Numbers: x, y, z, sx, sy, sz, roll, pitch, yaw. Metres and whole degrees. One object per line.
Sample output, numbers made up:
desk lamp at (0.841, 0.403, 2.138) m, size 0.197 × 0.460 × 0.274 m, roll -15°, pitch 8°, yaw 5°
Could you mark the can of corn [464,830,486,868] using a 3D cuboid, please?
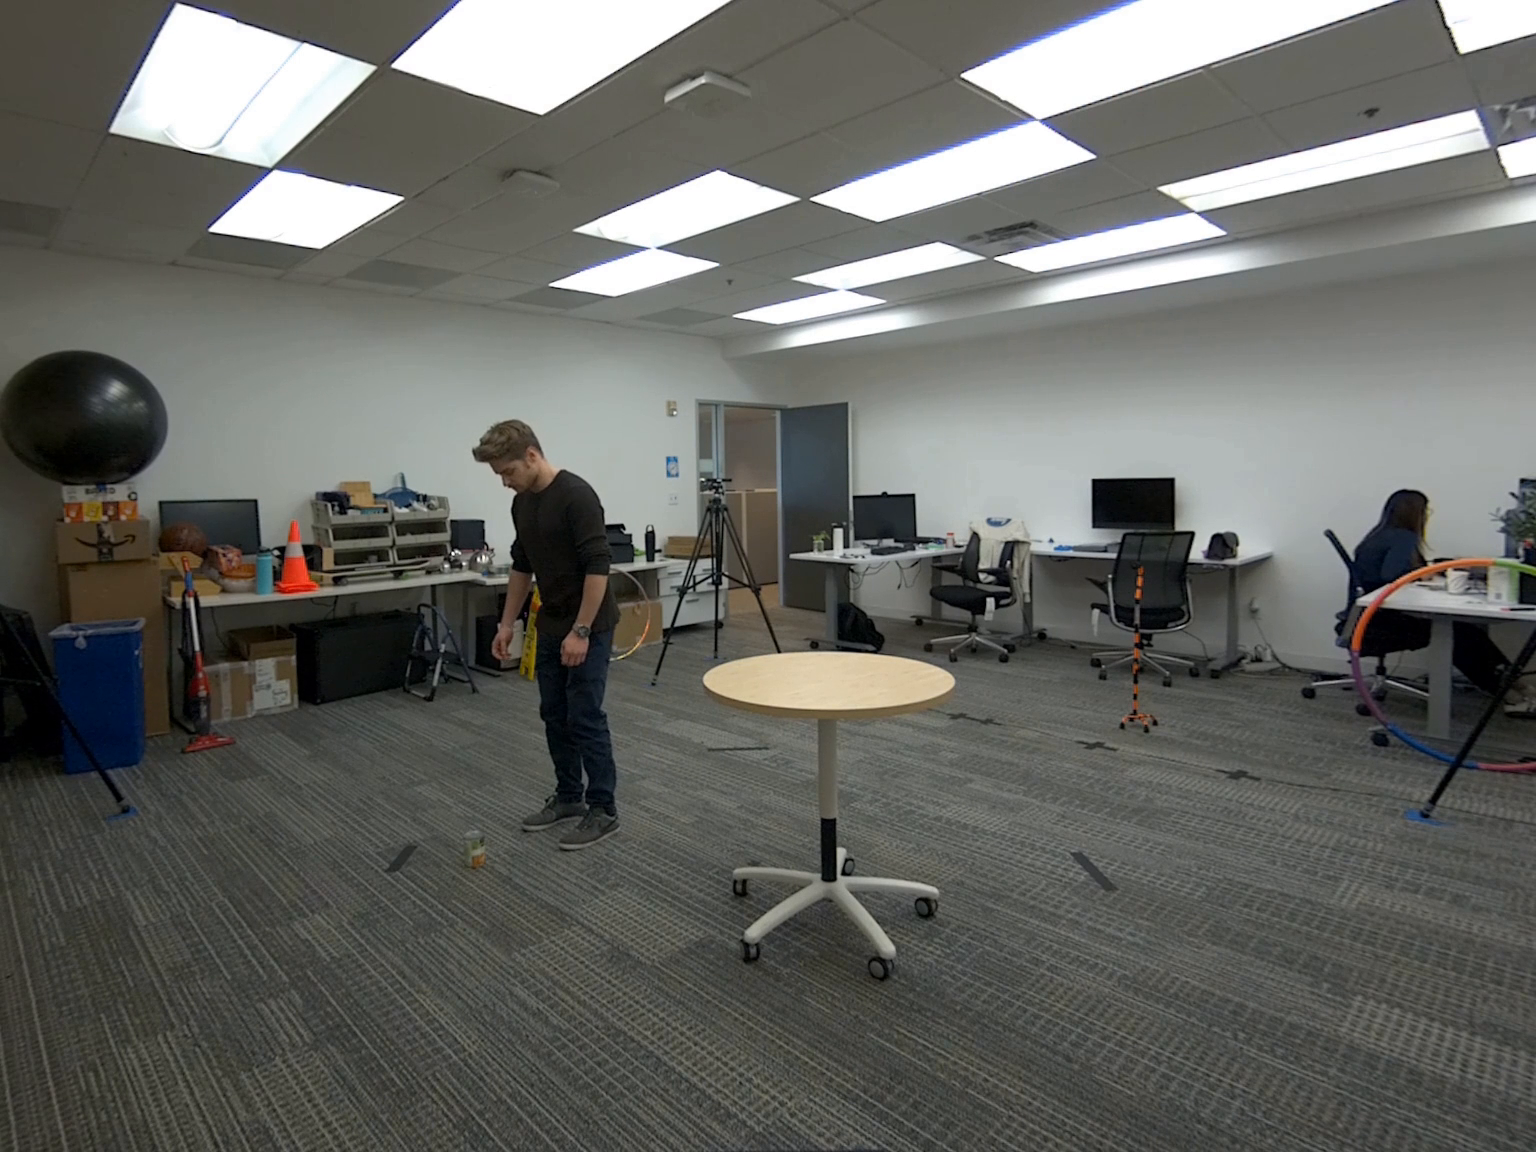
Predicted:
can of corn at (-1.081, 1.008, 3.150) m, size 0.074 × 0.110 × 0.074 m, roll -9°, pitch 4°, yaw -1°
